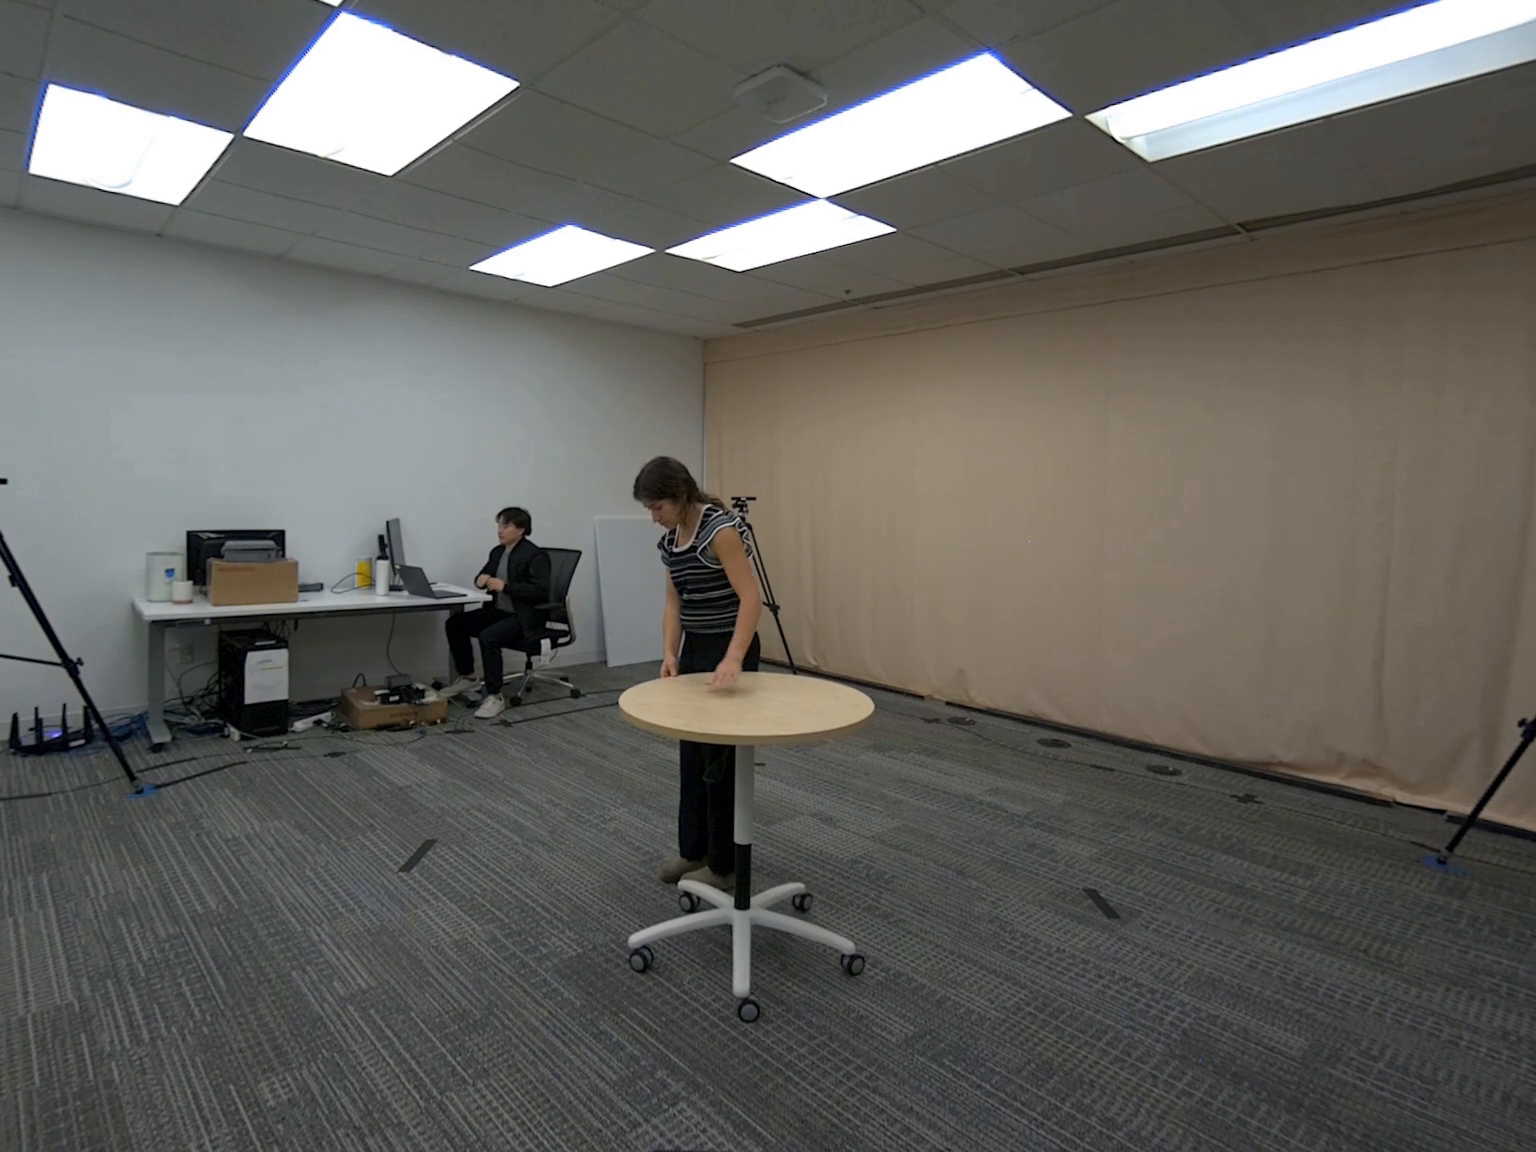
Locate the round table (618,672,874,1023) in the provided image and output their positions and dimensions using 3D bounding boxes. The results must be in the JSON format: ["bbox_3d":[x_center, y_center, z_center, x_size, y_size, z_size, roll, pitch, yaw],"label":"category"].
[{"bbox_3d":[-0.082,0.762,2.576,0.784,0.784,0.788,1,4,-1],"label":"round table"}]
